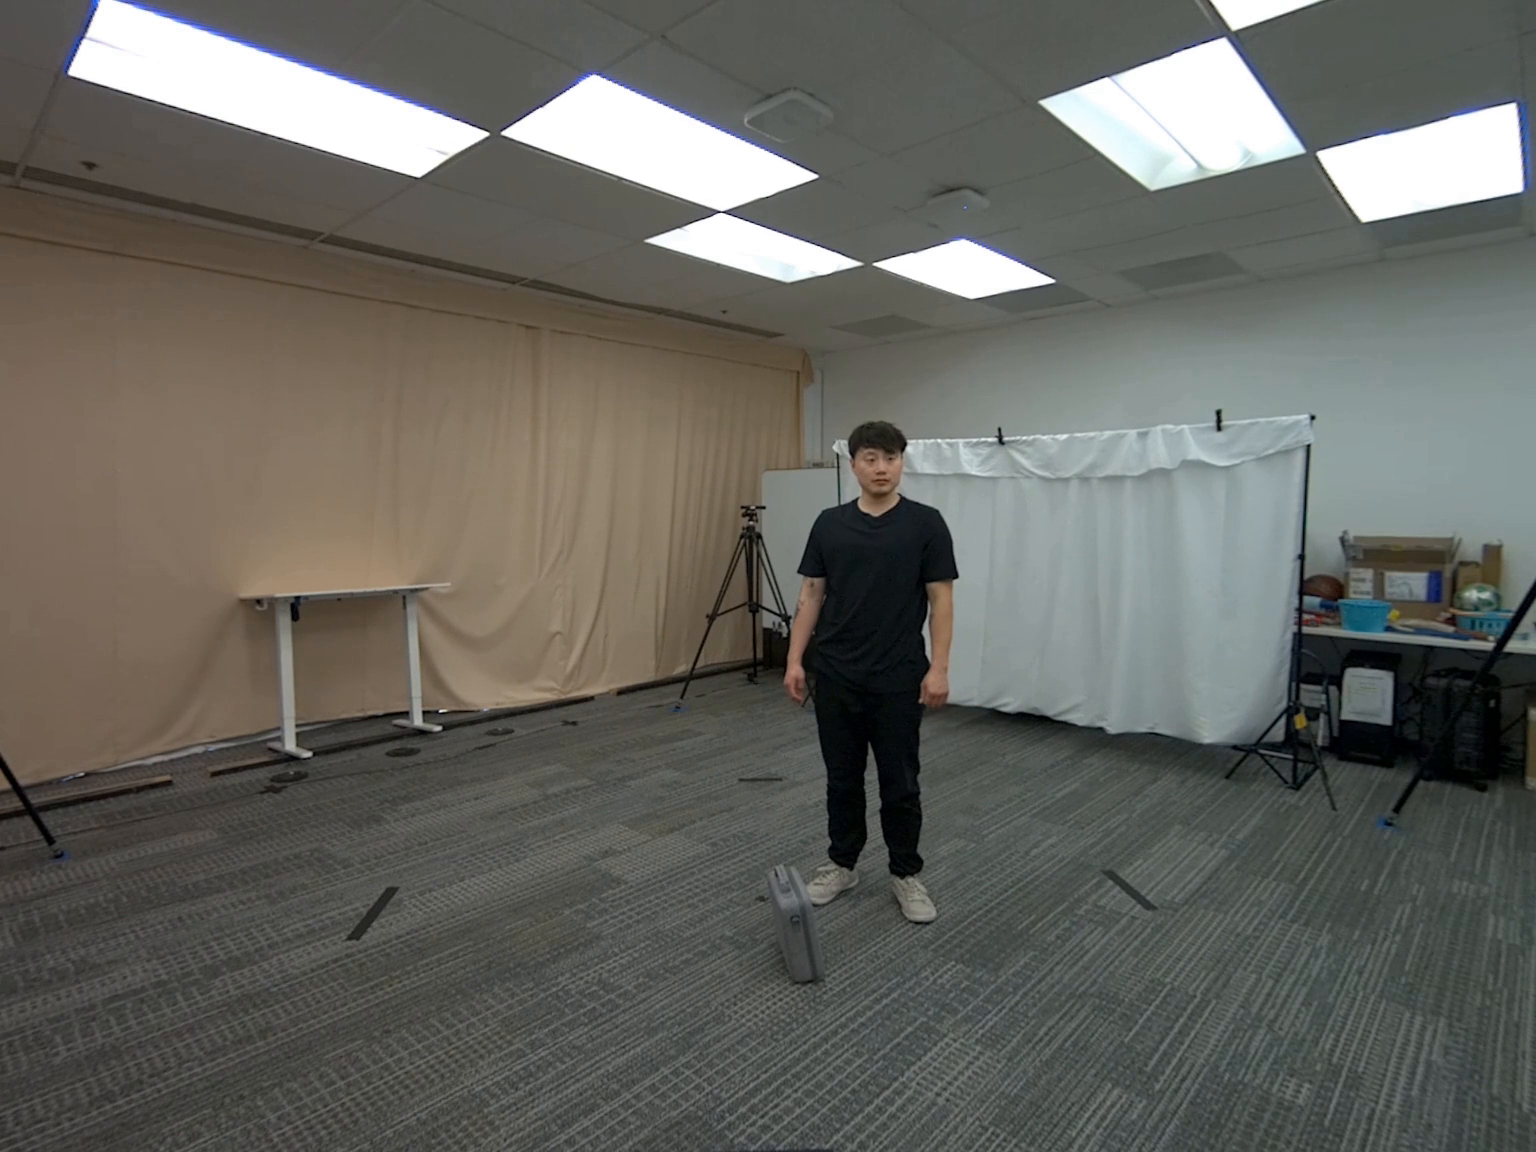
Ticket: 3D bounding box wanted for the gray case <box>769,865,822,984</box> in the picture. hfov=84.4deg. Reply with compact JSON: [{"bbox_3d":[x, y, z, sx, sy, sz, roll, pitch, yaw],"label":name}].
[{"bbox_3d":[0.082,1.046,2.550,0.104,0.260,0.259,-8,4,-8],"label":"gray case"}]
